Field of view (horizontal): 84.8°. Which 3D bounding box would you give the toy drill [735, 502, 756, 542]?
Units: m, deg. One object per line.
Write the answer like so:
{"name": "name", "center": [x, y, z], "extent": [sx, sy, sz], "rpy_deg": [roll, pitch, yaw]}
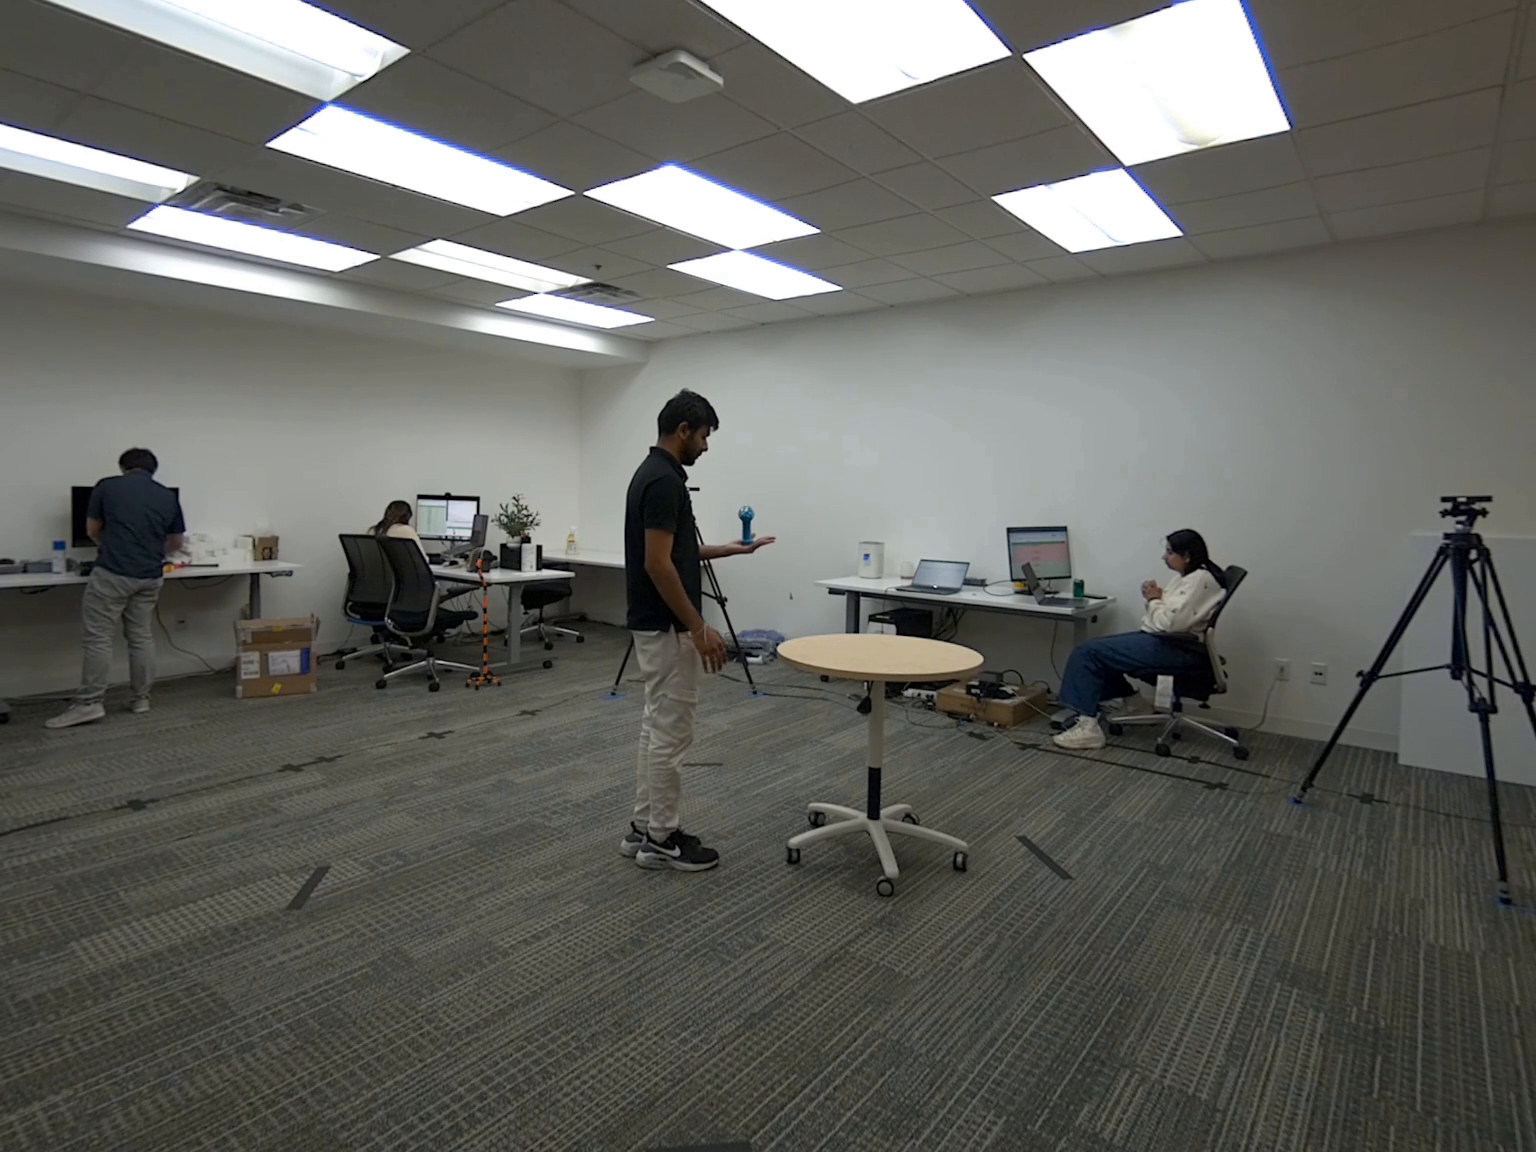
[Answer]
{"name": "toy drill", "center": [-0.090, -0.201, 3.255], "extent": [0.061, 0.144, 0.173], "rpy_deg": [1, 14, -5]}
